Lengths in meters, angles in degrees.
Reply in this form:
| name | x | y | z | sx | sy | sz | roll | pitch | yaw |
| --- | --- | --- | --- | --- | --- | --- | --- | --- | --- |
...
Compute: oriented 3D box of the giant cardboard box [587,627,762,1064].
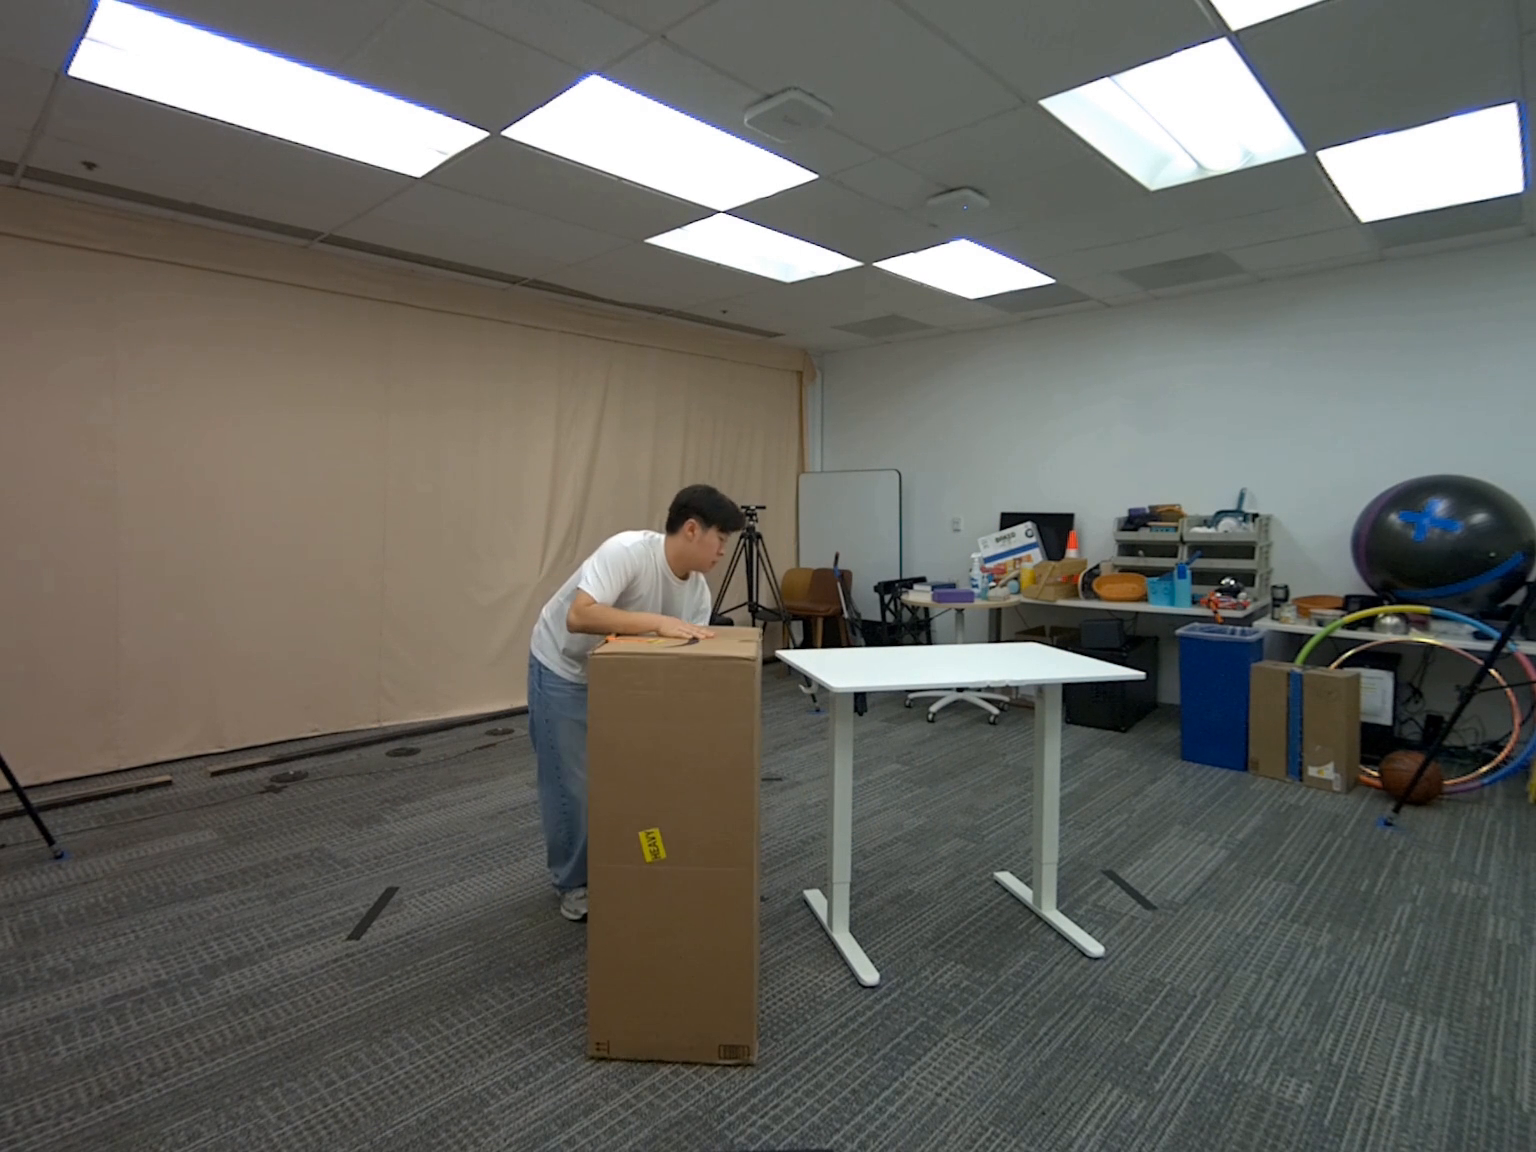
| name | x | y | z | sx | sy | sz | roll | pitch | yaw |
| --- | --- | --- | --- | --- | --- | --- | --- | --- | --- |
| giant cardboard box | -0.242 | 0.685 | 2.345 | 0.428 | 1.024 | 0.576 | 0 | 3 | 2 |
